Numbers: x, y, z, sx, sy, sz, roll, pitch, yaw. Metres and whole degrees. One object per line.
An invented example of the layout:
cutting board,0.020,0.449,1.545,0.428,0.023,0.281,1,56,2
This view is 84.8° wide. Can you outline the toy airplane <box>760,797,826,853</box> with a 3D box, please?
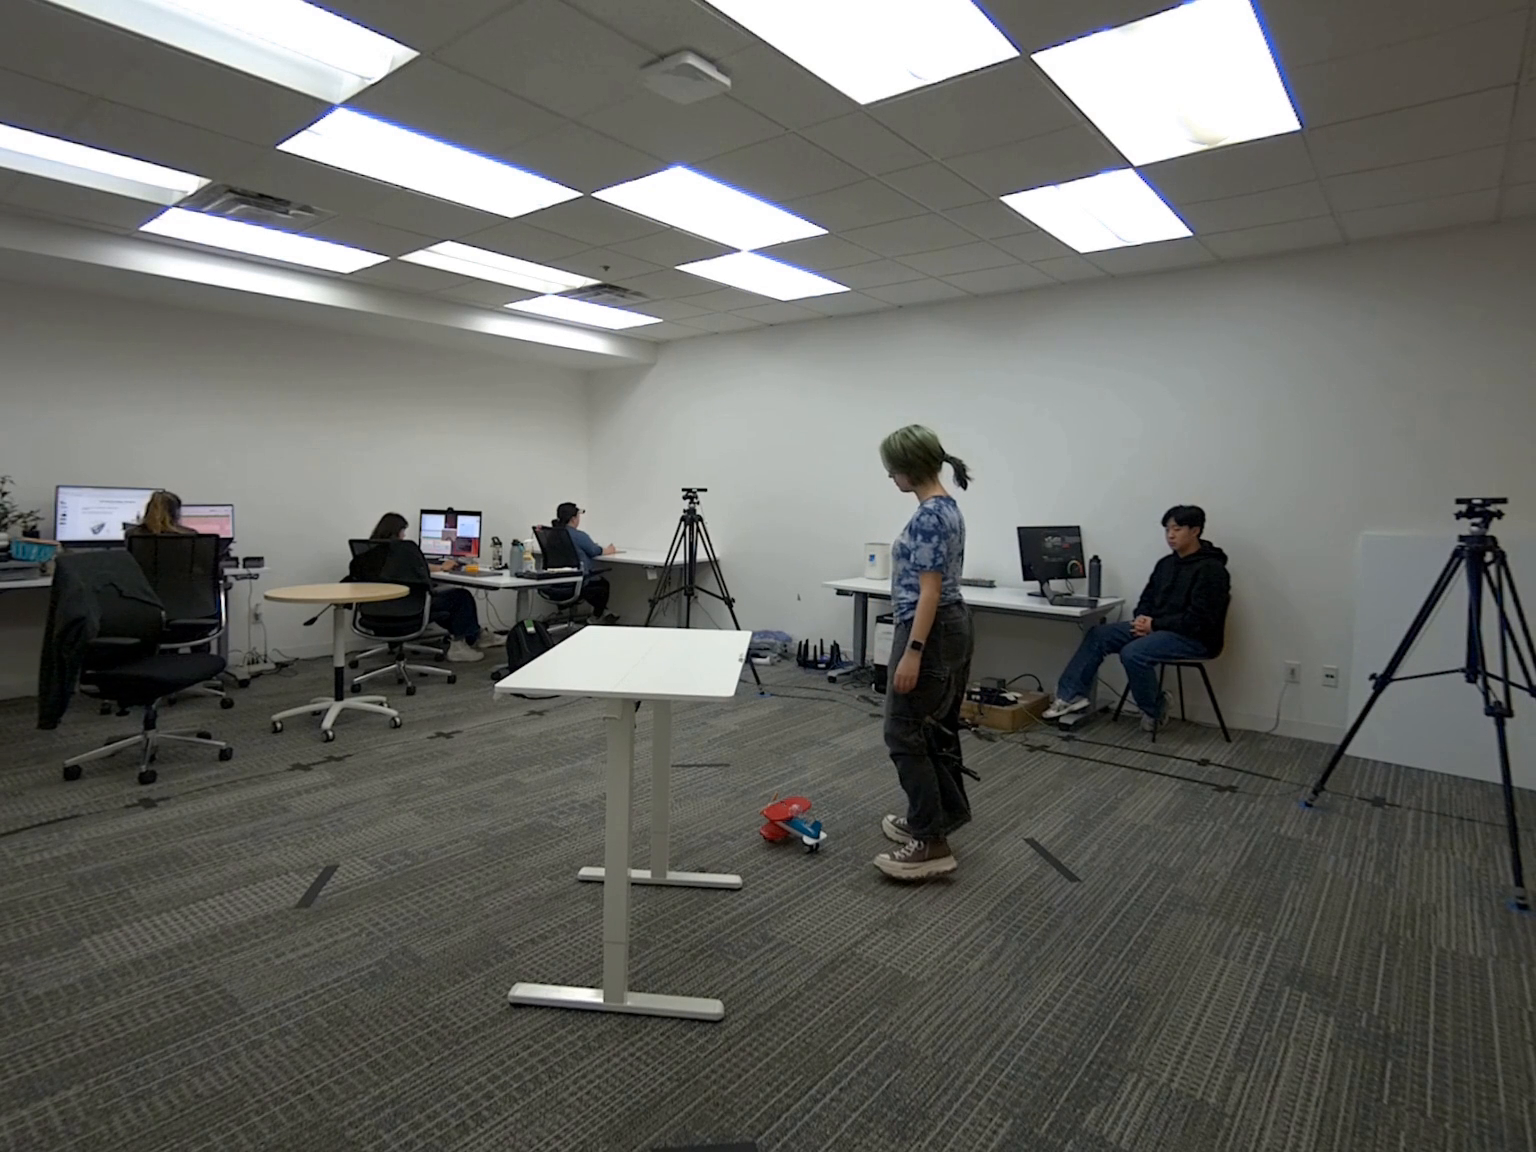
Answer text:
toy airplane,0.104,0.978,3.363,0.263,0.156,0.248,0,5,13
